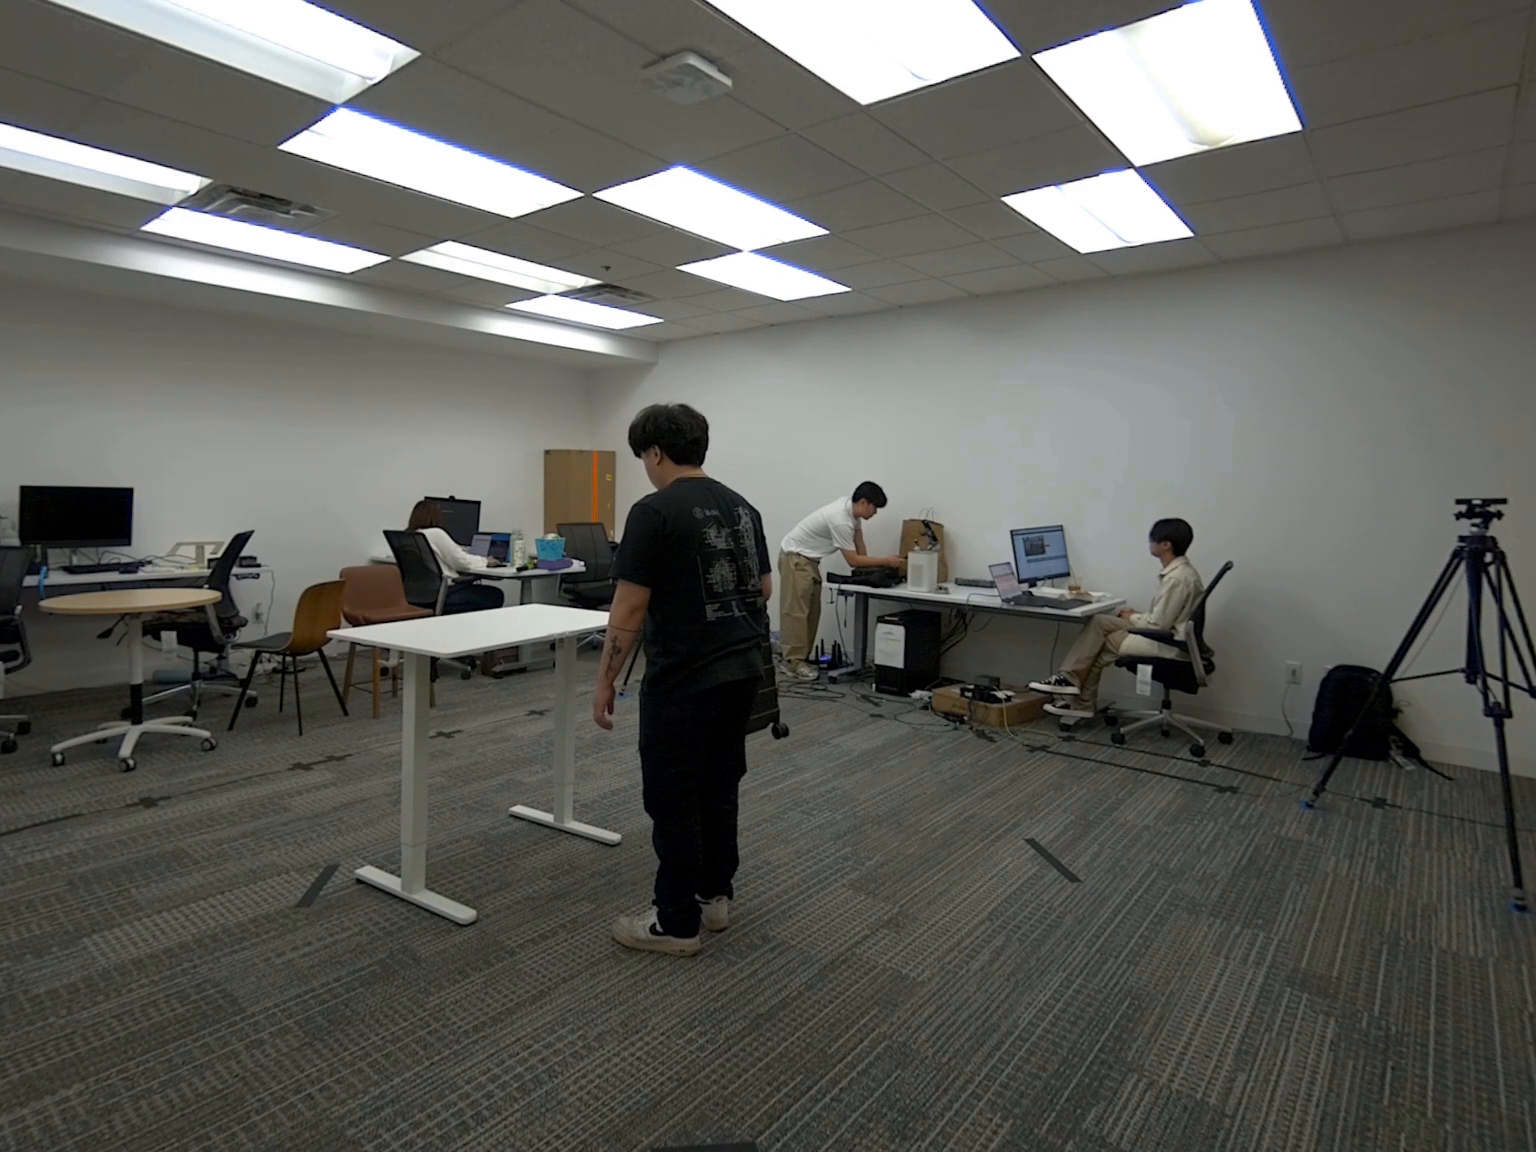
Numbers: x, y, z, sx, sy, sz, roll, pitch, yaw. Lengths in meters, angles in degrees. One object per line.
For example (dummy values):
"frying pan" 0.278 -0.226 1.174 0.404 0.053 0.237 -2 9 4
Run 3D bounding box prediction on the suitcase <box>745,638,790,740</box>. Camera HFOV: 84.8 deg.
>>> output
"suitcase" -0.184 0.326 3.050 0.365 0.548 0.255 -8 3 -36
